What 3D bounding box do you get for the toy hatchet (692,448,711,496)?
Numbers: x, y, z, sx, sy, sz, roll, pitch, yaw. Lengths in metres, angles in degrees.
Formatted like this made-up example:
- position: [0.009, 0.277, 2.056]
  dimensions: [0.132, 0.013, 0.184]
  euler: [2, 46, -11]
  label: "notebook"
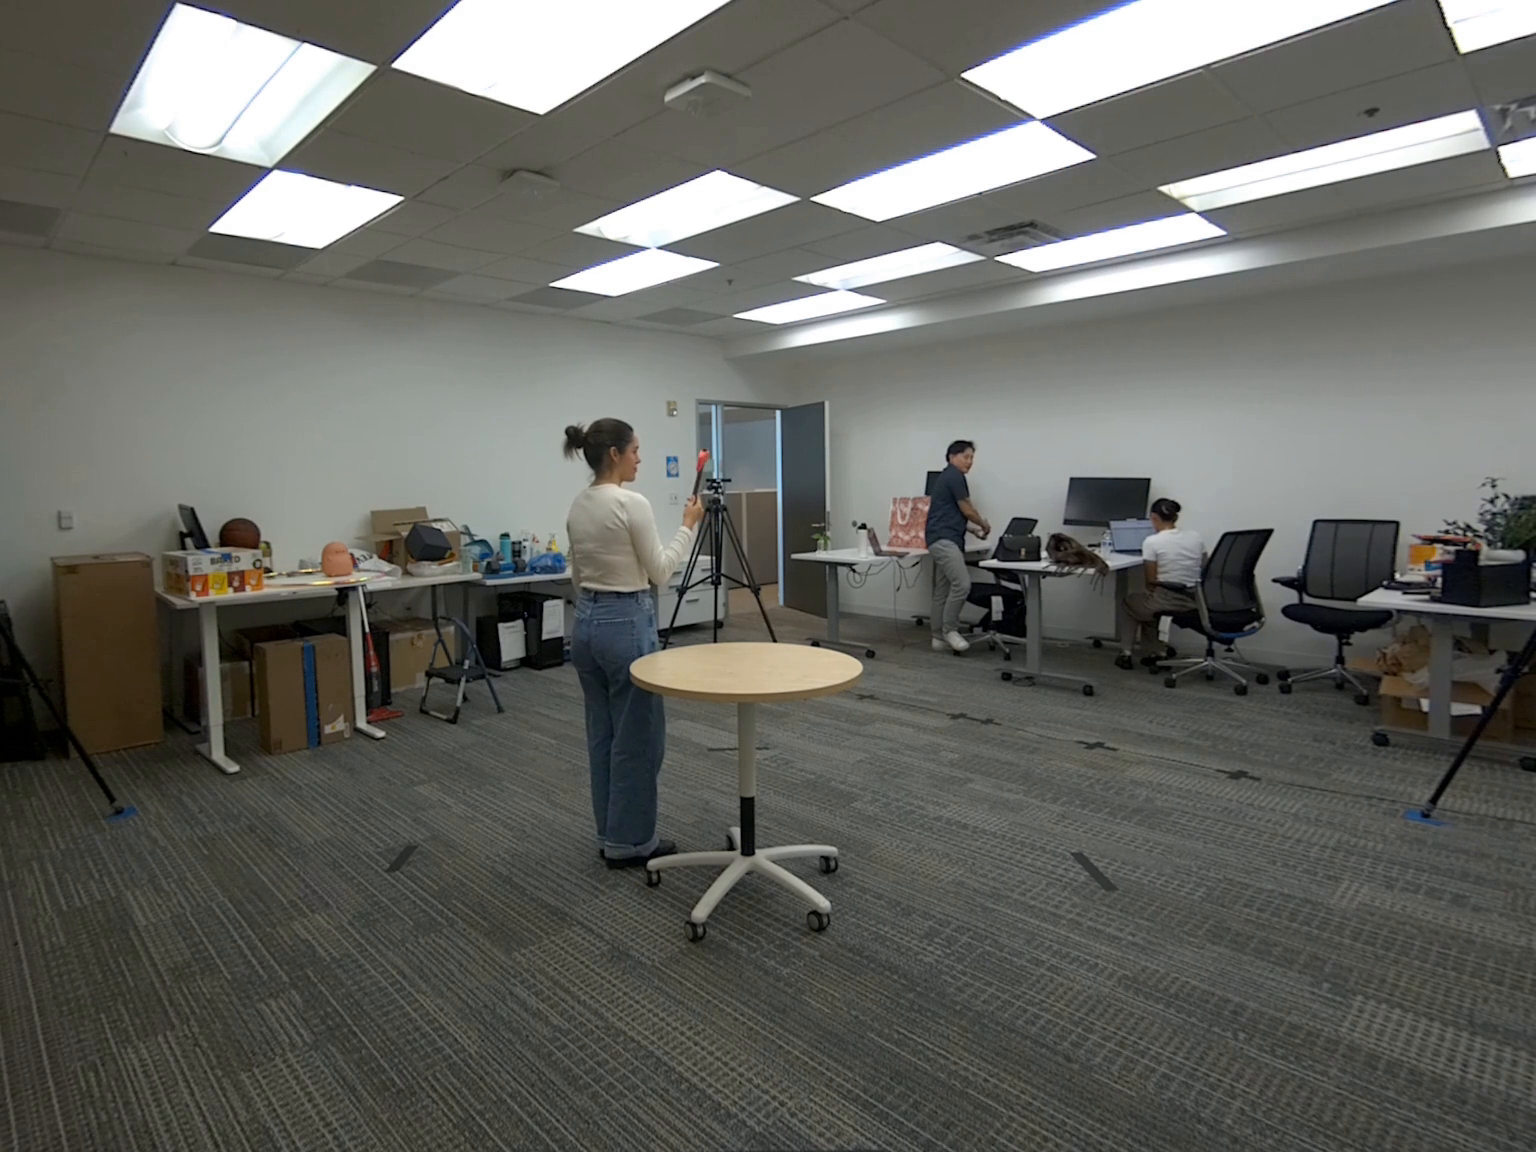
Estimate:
- position: [-0.267, -0.346, 3.129]
  dimensions: [0.030, 0.271, 0.130]
  euler: [19, -5, 0]
  label: "toy hatchet"
